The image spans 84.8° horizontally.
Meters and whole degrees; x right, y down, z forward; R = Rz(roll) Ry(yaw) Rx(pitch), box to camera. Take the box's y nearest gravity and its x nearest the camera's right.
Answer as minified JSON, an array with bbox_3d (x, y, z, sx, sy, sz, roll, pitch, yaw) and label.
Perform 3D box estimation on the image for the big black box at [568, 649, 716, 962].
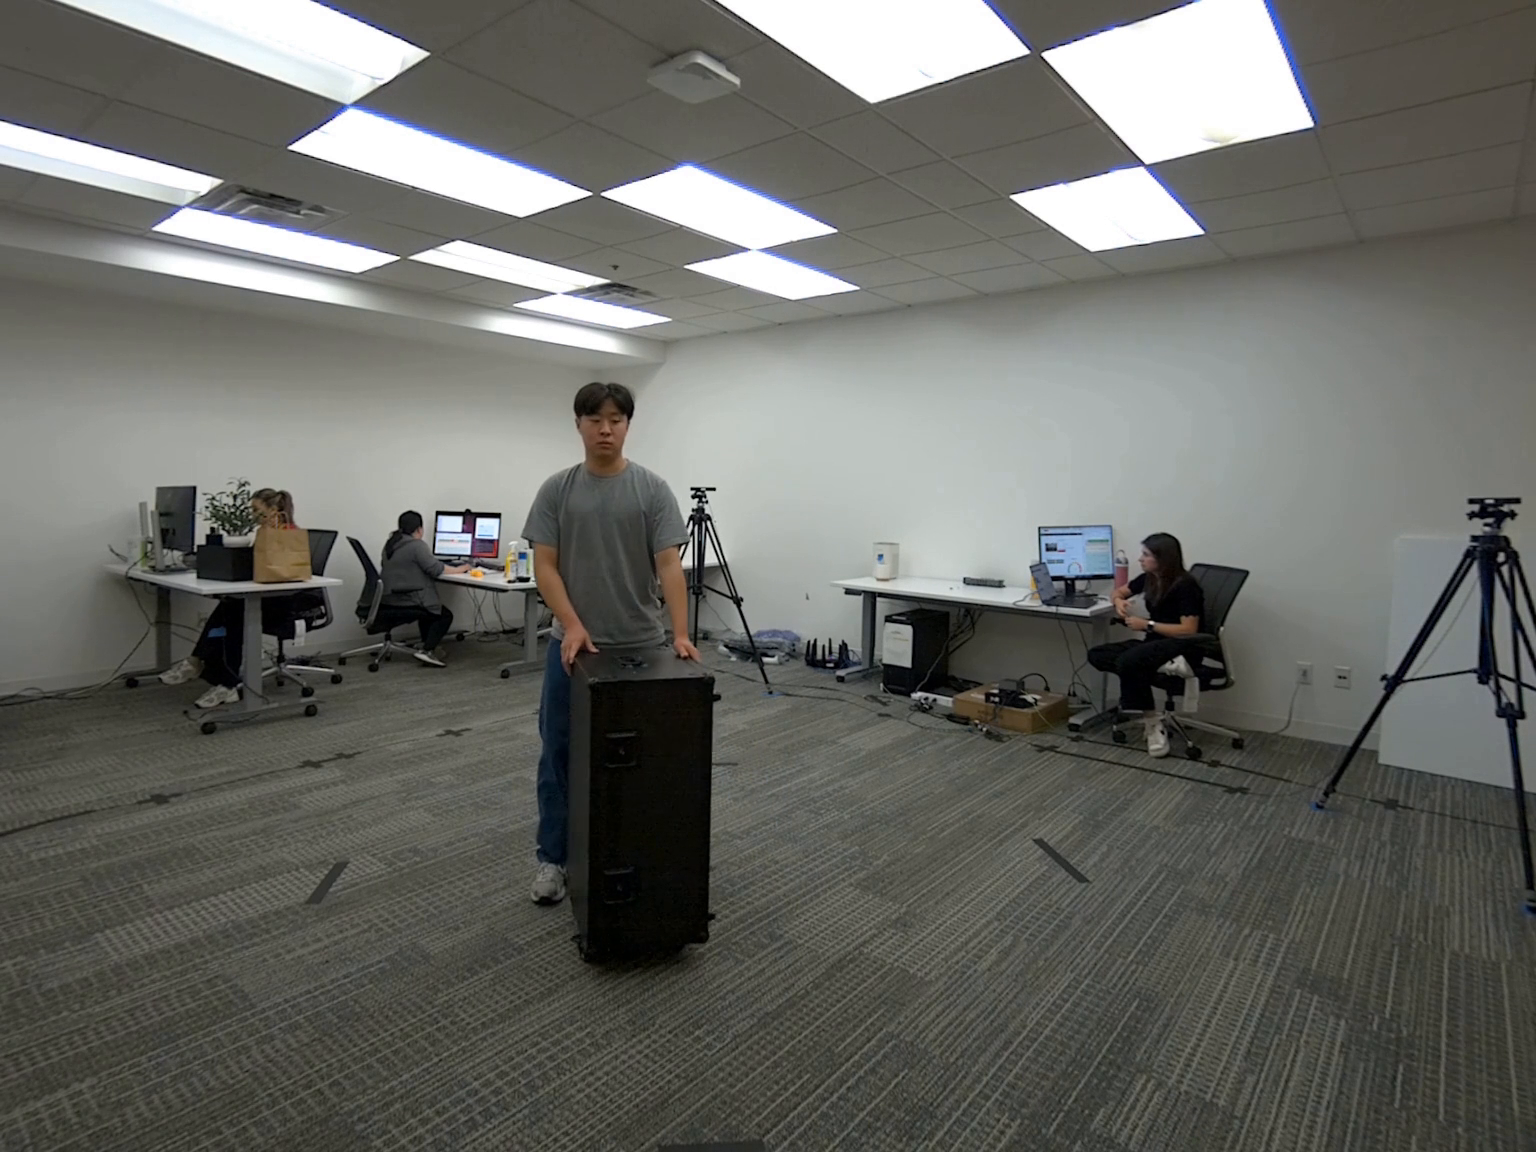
[{"bbox_3d":[-0.414,0.688,2.629,0.389,0.859,0.533,1,3,-19],"label":"big black box"}]
